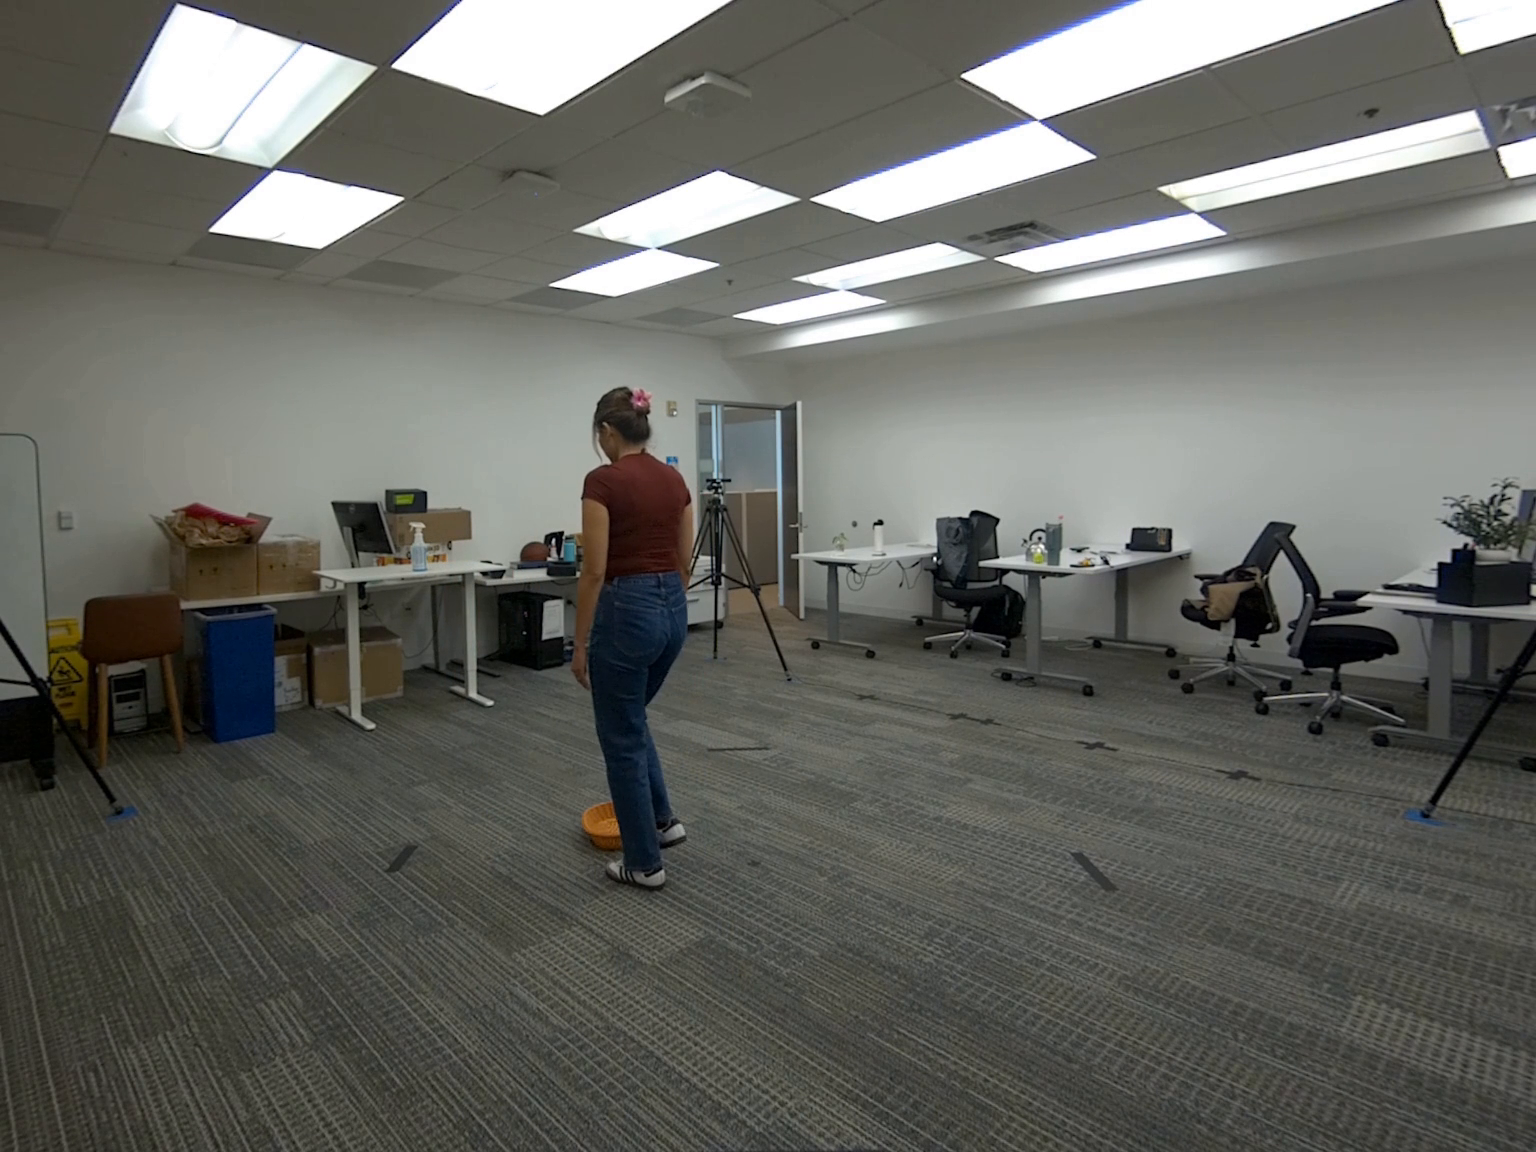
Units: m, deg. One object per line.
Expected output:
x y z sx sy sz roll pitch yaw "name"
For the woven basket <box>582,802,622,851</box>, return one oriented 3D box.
-0.605 0.985 3.371 0.250 0.073 0.356 -4 7 -12 "woven basket"
